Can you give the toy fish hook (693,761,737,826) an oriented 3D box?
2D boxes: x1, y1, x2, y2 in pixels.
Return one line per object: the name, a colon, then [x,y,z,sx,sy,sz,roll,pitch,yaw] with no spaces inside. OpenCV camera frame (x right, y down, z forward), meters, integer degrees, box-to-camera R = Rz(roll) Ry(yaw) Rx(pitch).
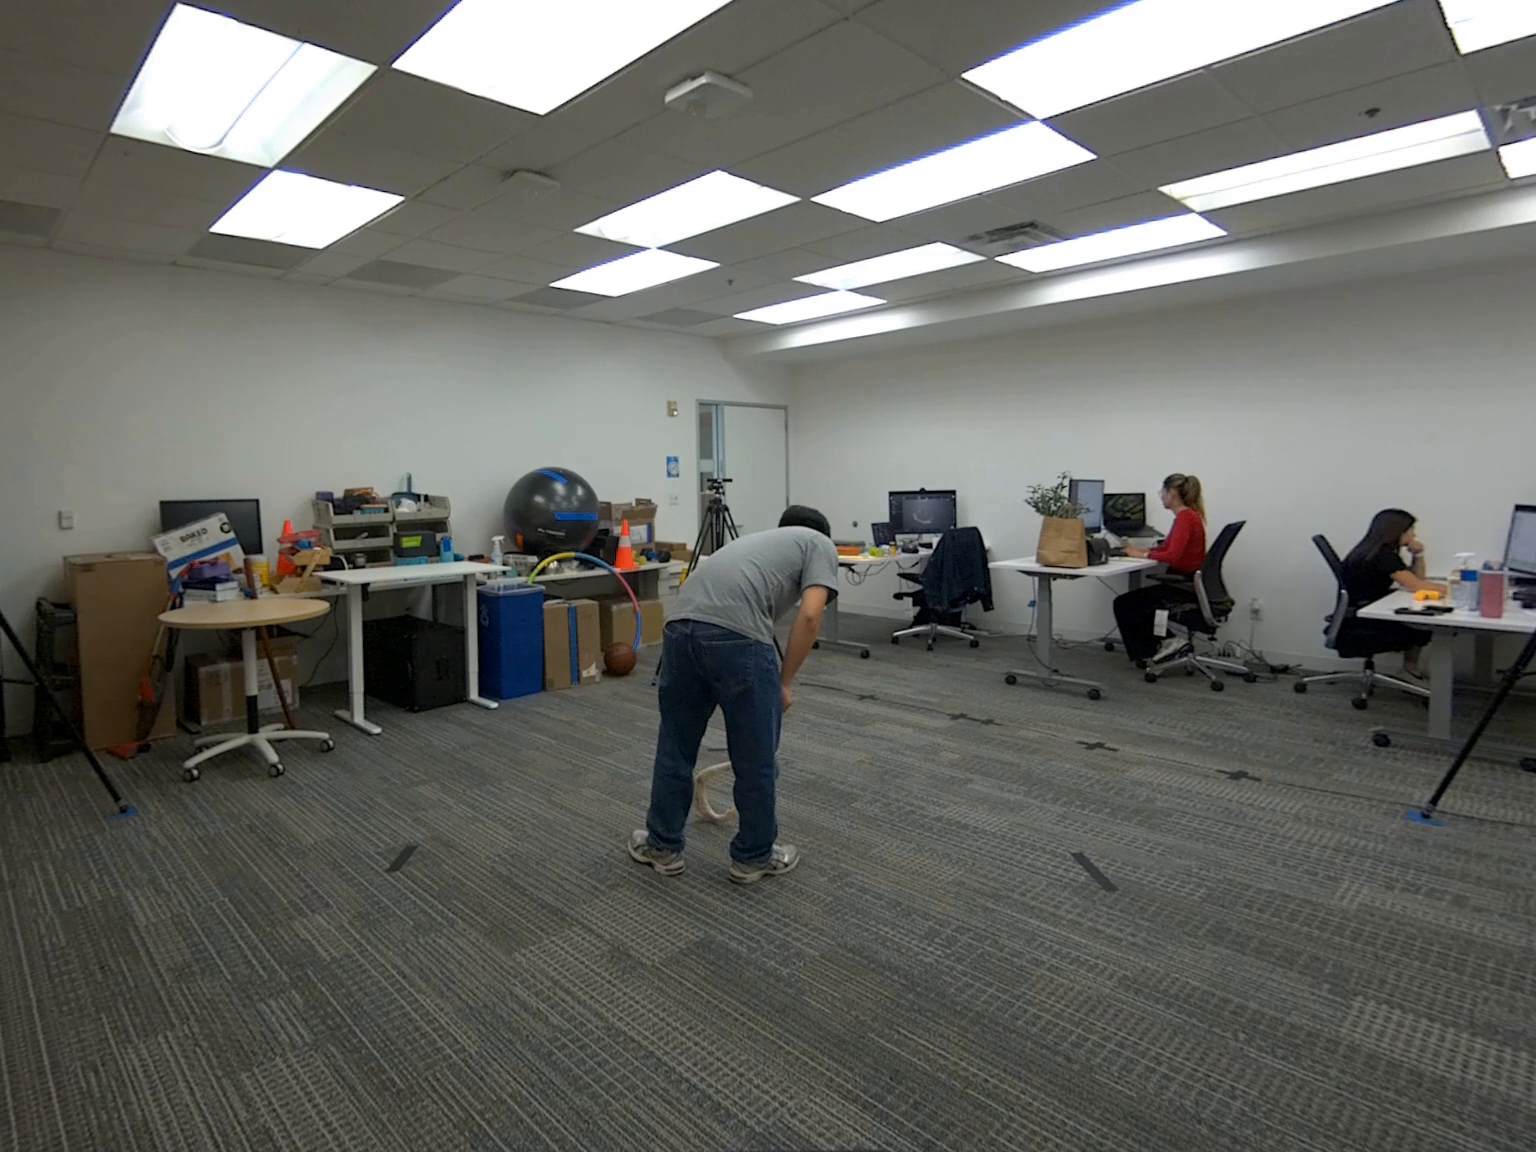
toy fish hook: [-0.129,0.818,3.401,0.507,0.229,0.047,-43,-17,31]
